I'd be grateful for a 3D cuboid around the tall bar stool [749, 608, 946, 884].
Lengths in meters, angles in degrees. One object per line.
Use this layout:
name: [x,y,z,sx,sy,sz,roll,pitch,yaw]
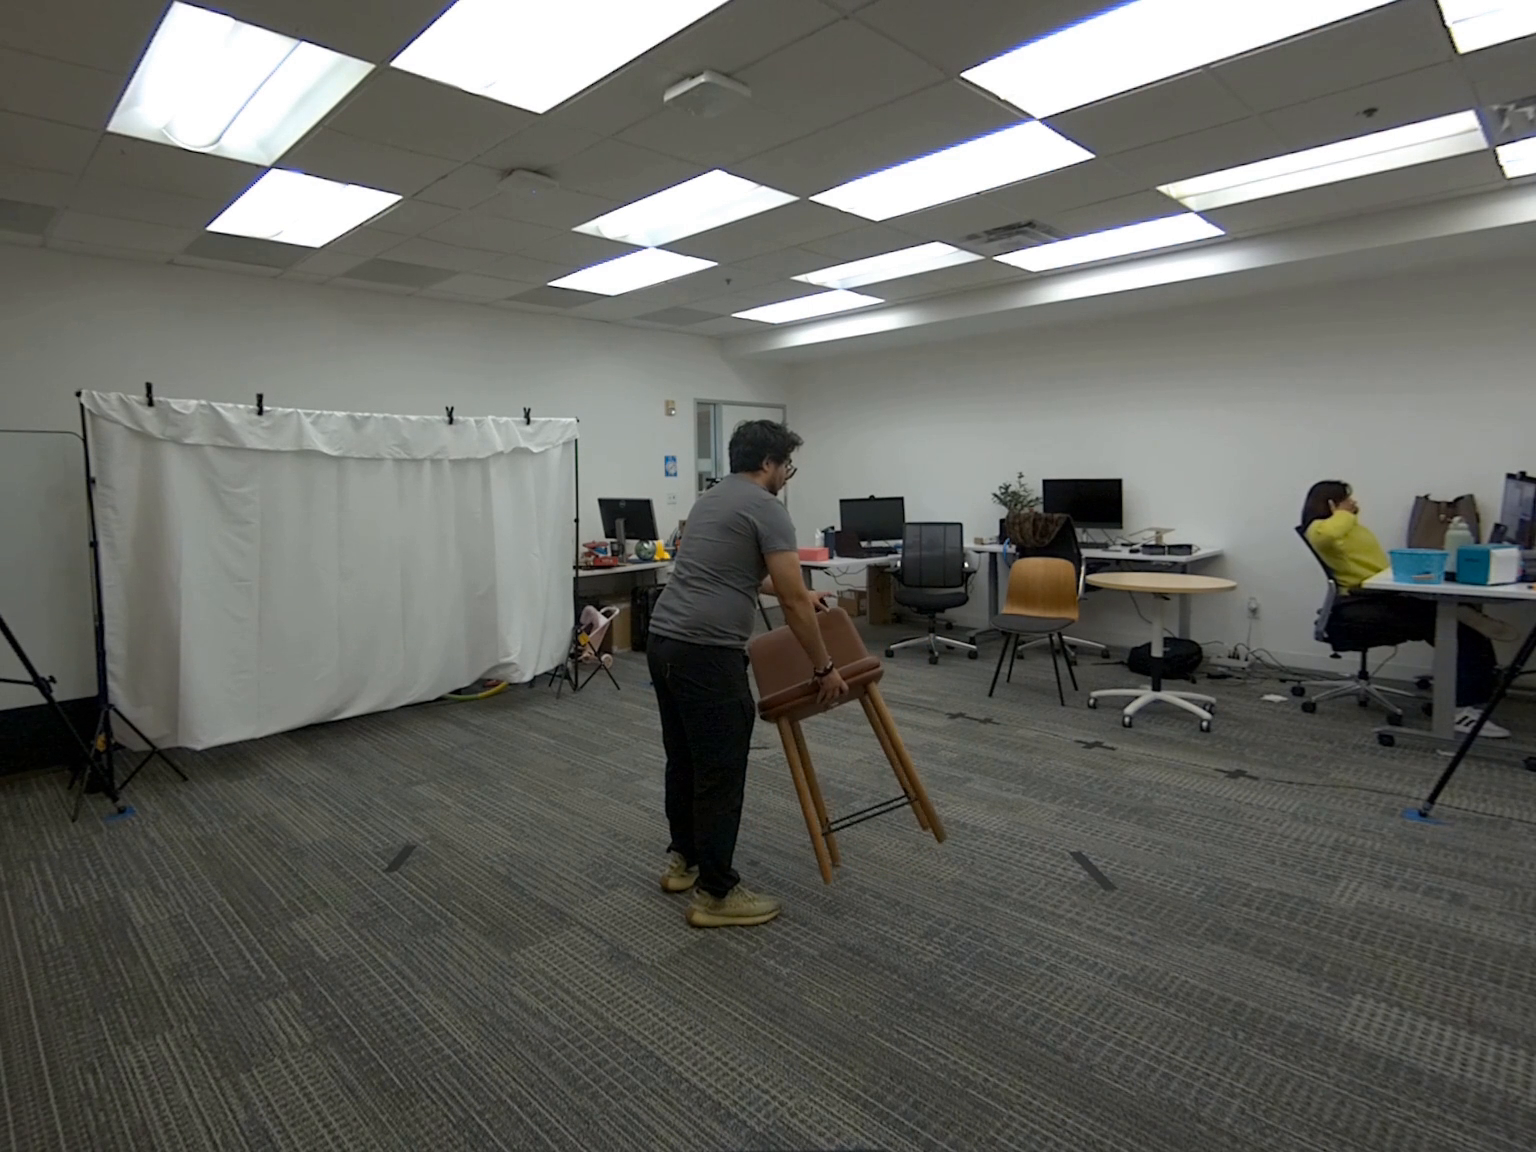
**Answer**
tall bar stool: [0.252,0.550,2.988,0.457,0.907,0.458,-22,-15,1]
